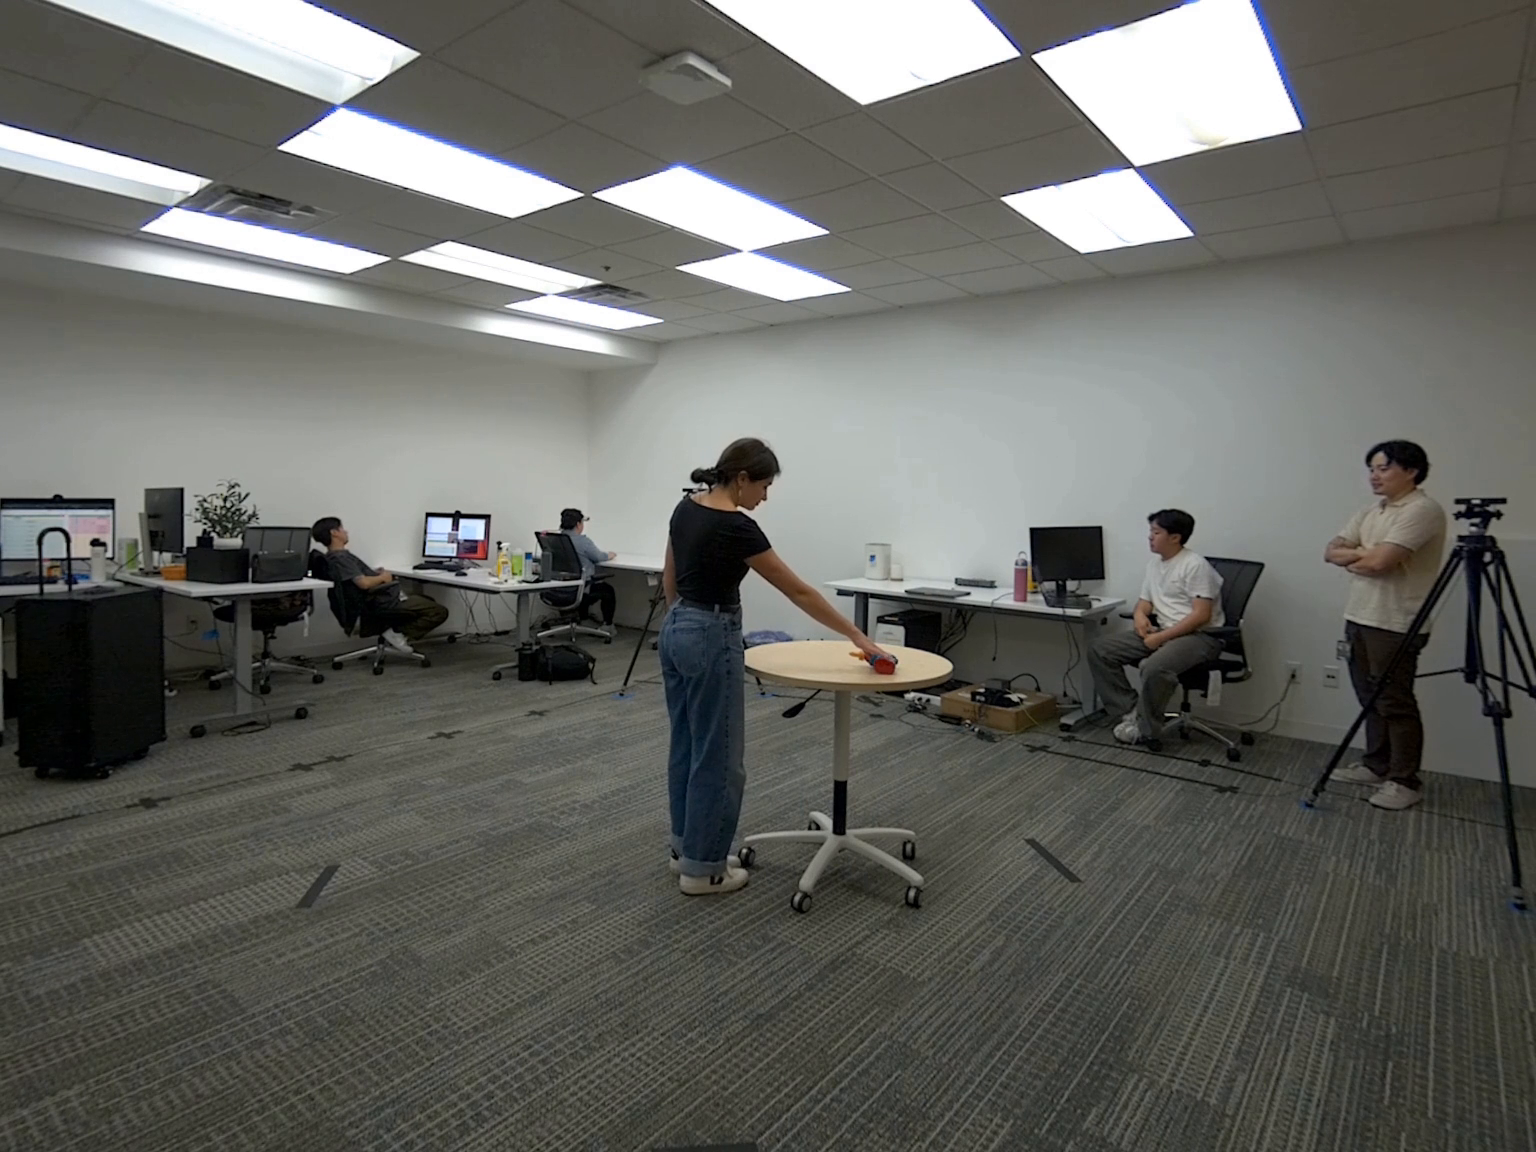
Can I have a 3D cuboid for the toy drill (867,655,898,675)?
[{"bbox_3d":[0.366,0.287,2.916,0.171,0.061,0.146,10,10,3],"label":"toy drill"}]
